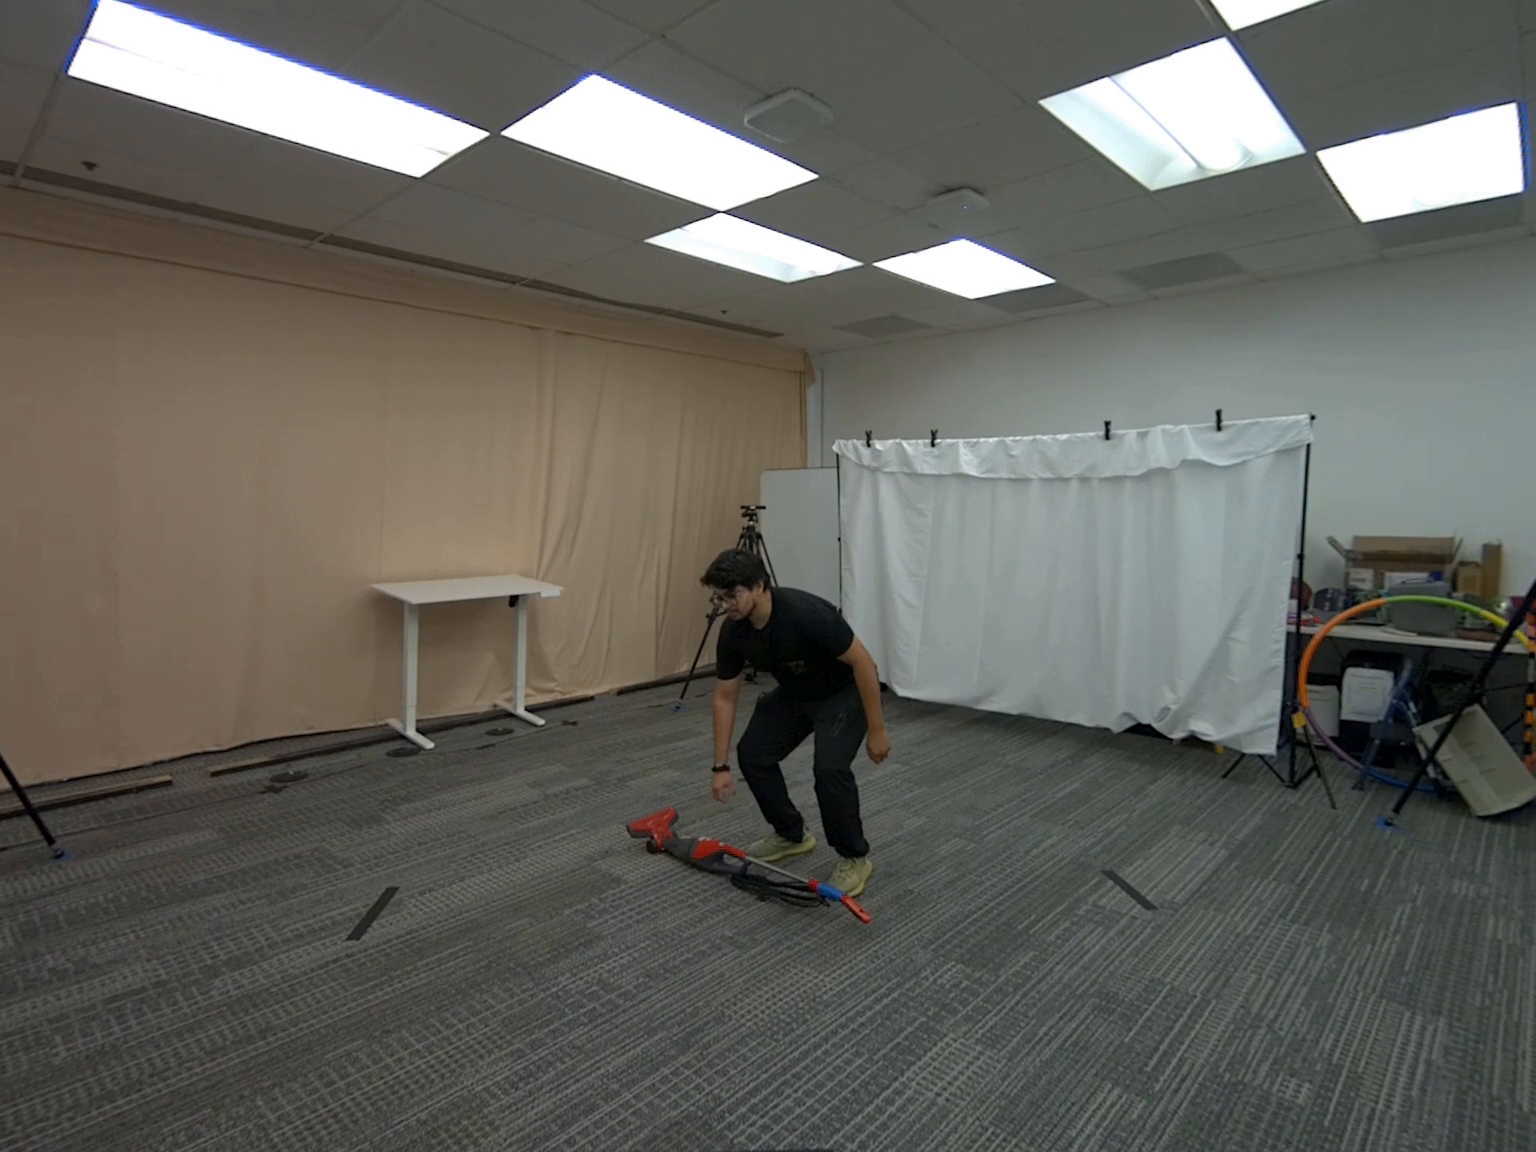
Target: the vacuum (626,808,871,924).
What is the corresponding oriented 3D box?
[{"bbox_3d":[-0.075,1.080,3.073,1.085,0.143,0.245,5,8,45],"label":"vacuum"}]
